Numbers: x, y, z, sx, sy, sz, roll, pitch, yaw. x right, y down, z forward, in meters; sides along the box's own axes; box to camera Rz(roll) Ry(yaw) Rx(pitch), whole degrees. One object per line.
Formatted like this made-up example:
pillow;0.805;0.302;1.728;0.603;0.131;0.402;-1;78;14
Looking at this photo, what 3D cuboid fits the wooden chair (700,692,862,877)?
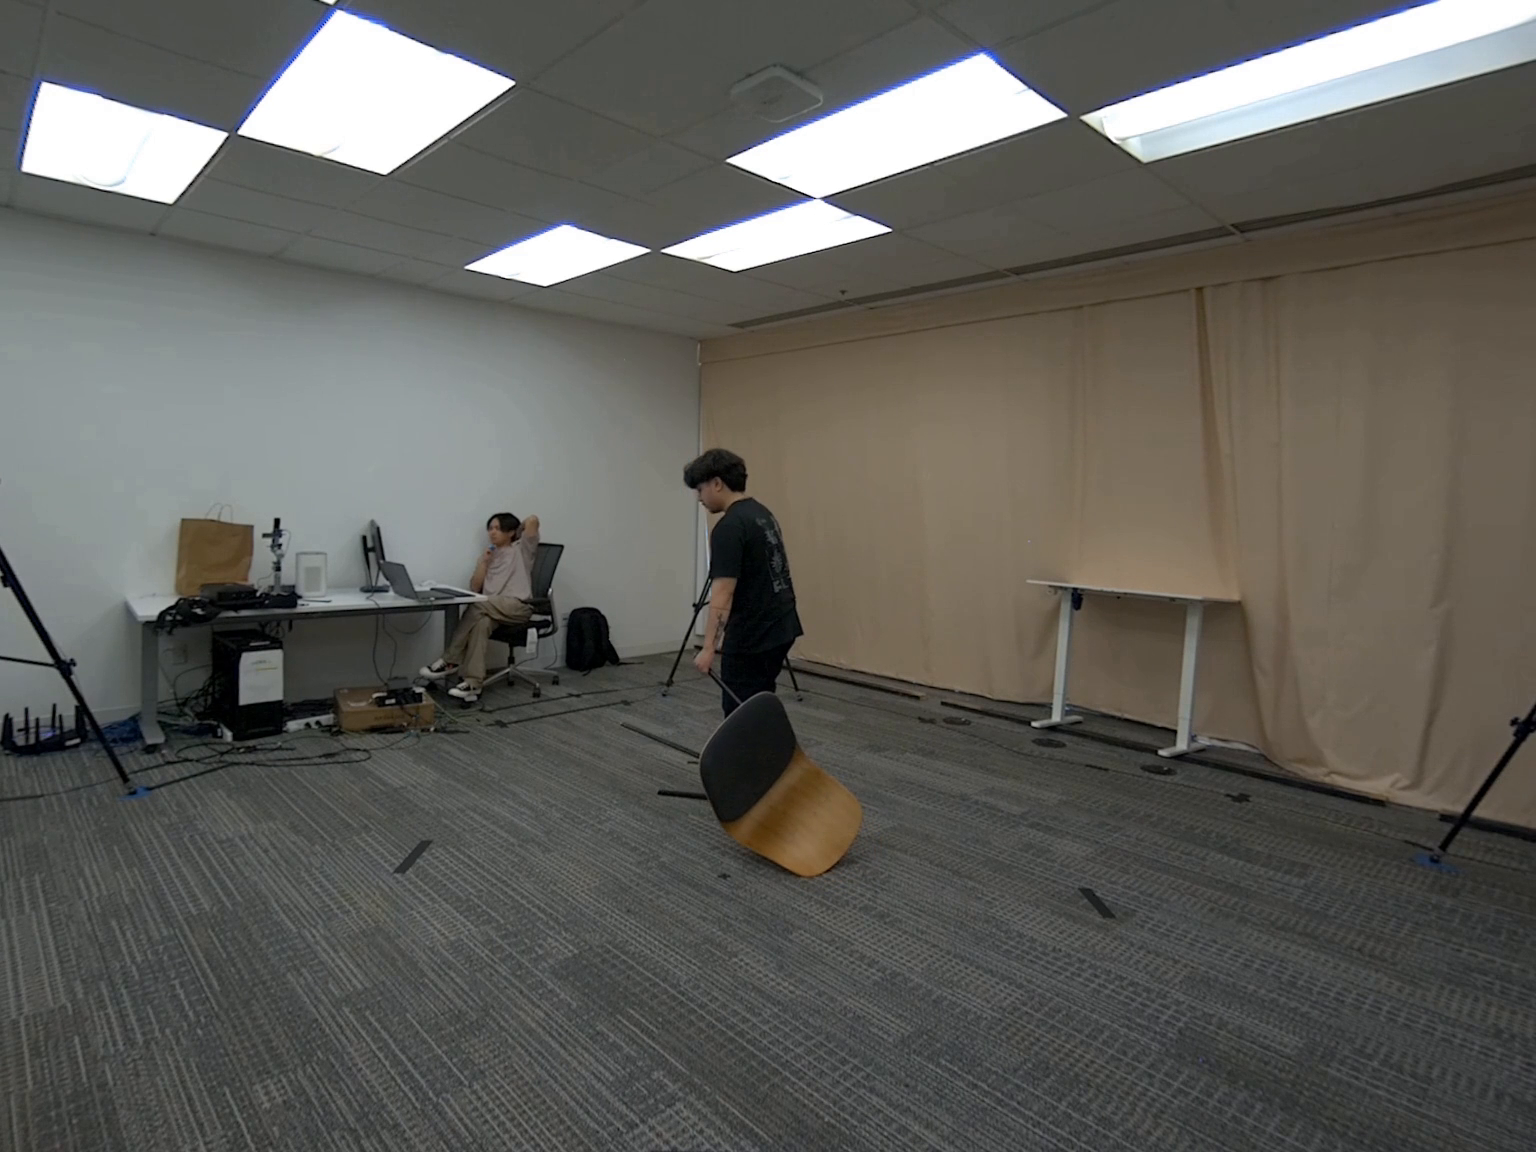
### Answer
wooden chair;-0.099;0.743;3.344;0.903;0.509;0.477;21;51;39
